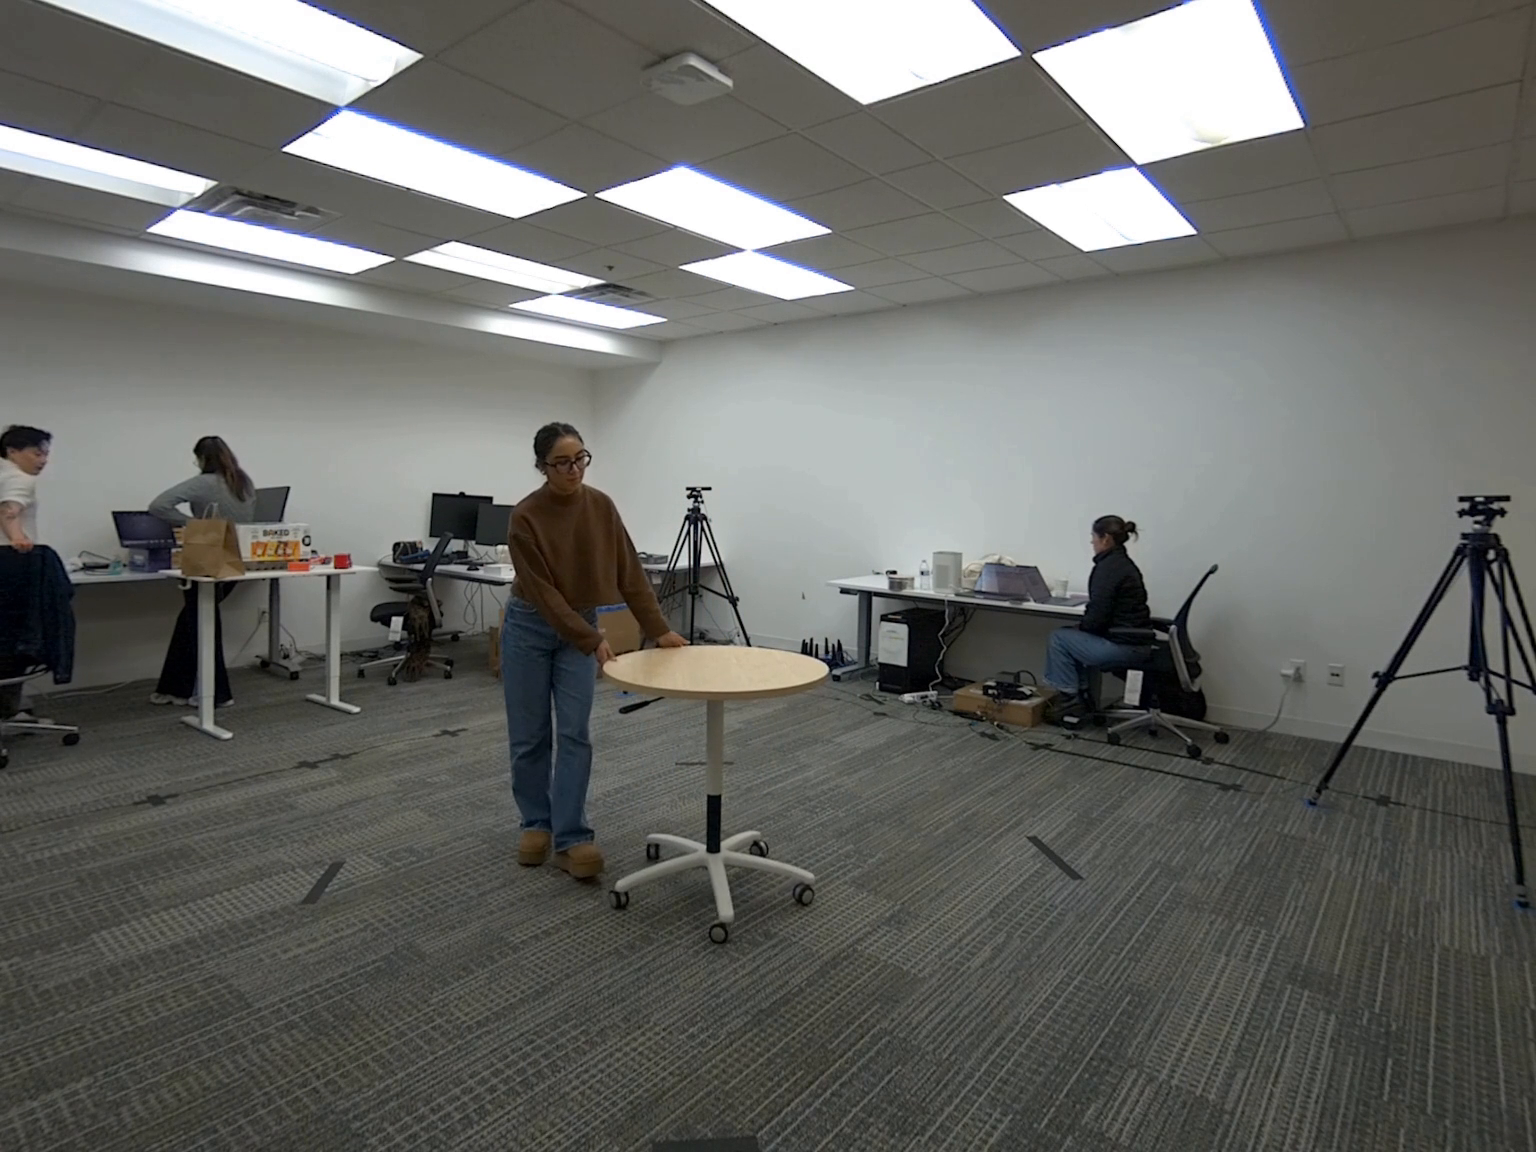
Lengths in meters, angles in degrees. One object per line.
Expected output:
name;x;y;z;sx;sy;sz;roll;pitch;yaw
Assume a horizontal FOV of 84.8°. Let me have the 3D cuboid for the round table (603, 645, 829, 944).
round table;-0.209;0.692;2.915;0.784;0.784;0.789;1;4;-2
